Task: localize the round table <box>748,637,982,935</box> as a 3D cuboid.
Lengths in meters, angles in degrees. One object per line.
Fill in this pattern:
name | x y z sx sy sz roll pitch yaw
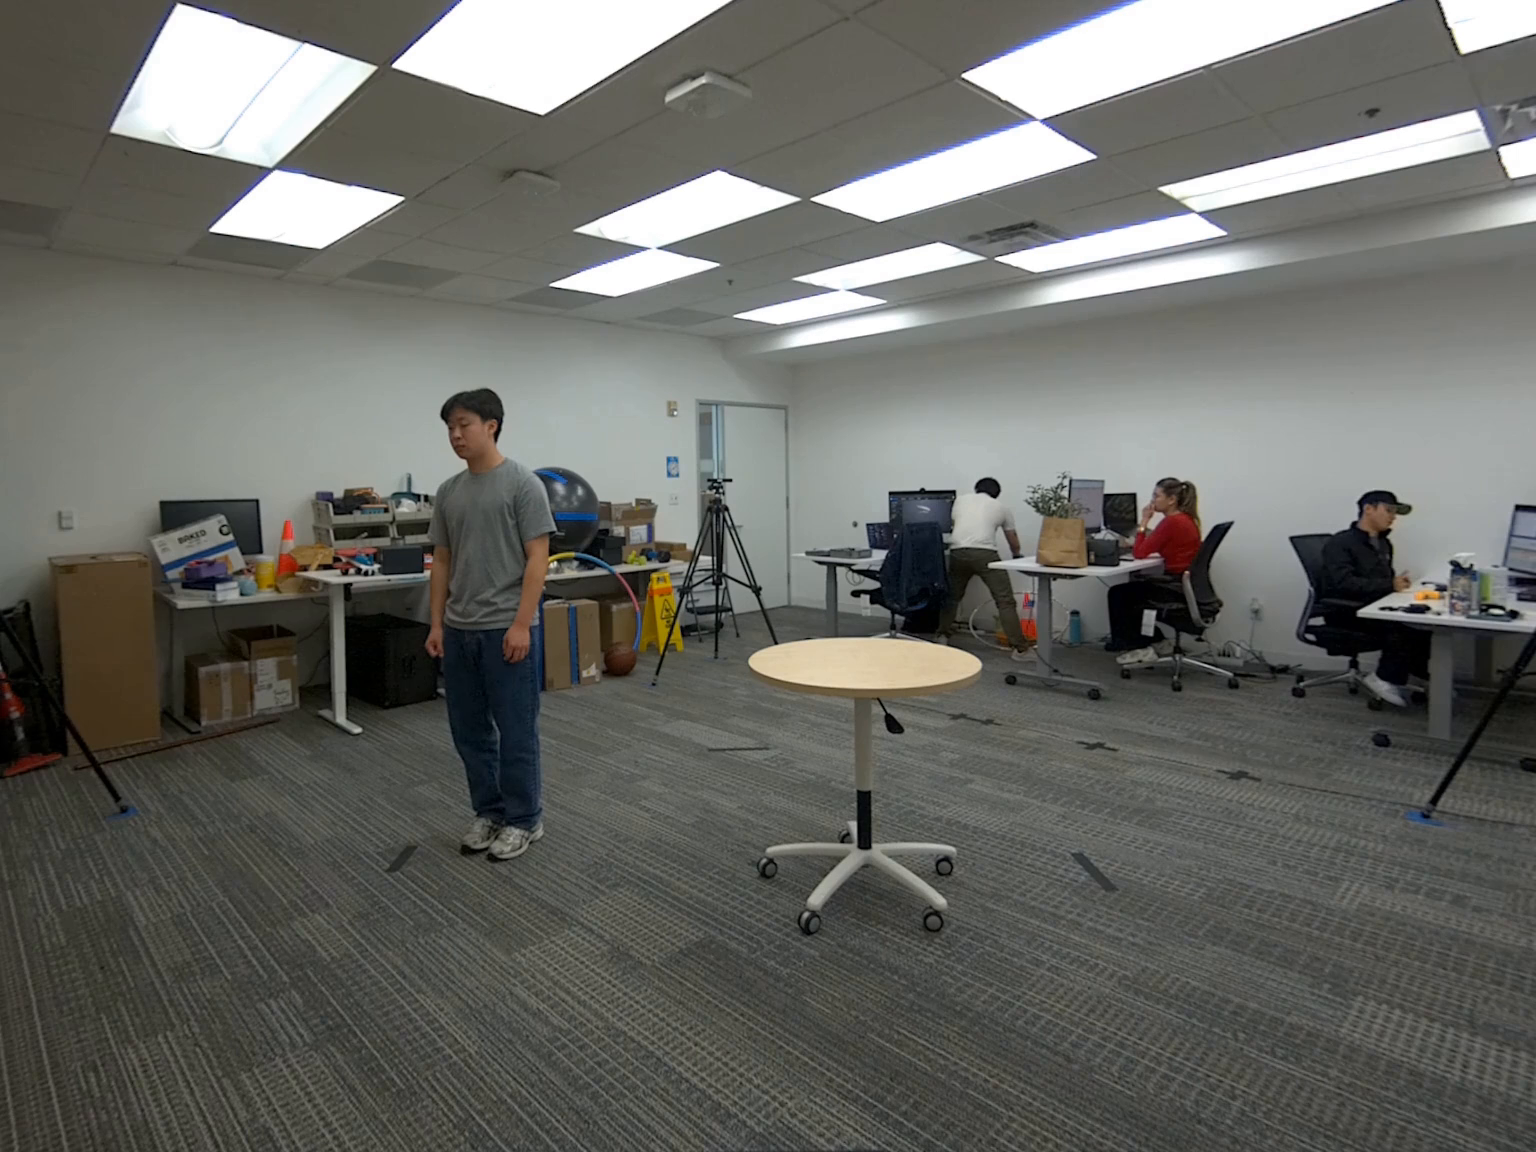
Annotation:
round table | 0.326 0.674 2.881 0.763 0.790 0.768 -1 5 -2
